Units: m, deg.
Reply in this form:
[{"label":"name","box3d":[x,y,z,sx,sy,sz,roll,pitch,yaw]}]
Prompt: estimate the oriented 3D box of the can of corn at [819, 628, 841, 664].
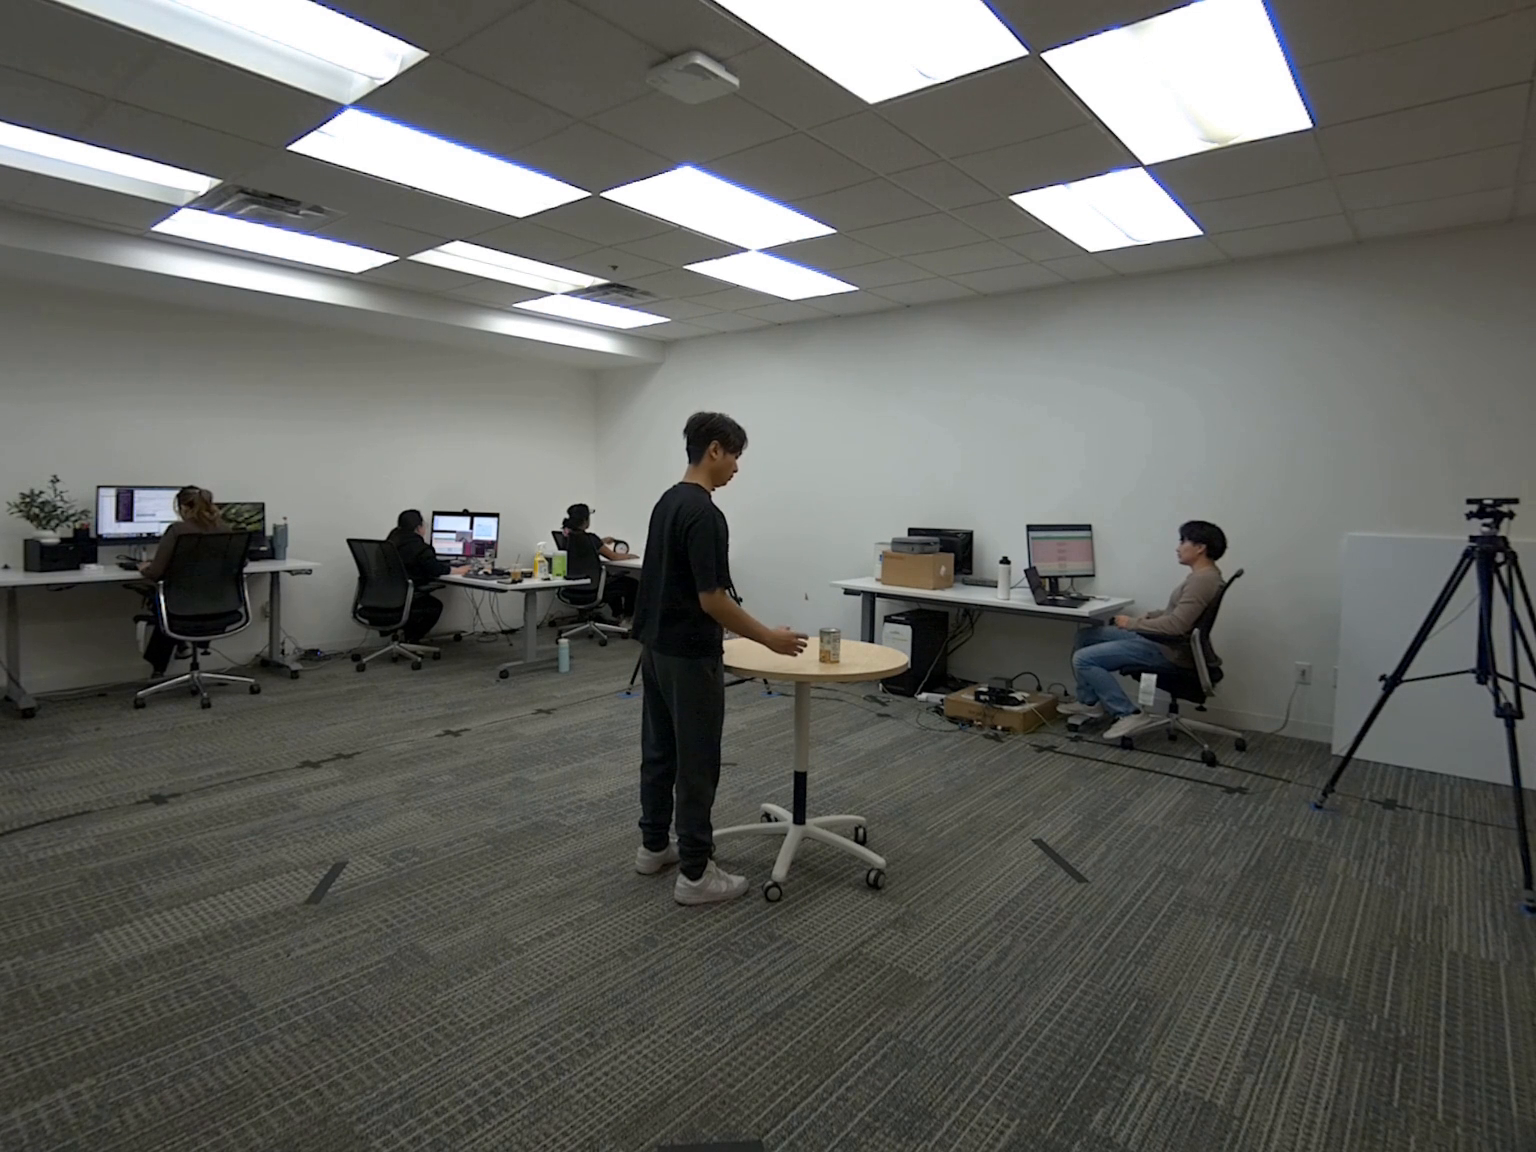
[{"label":"can of corn","box3d":[0.209,0.248,3.002,0.074,0.110,0.075,2,6,-2]}]
